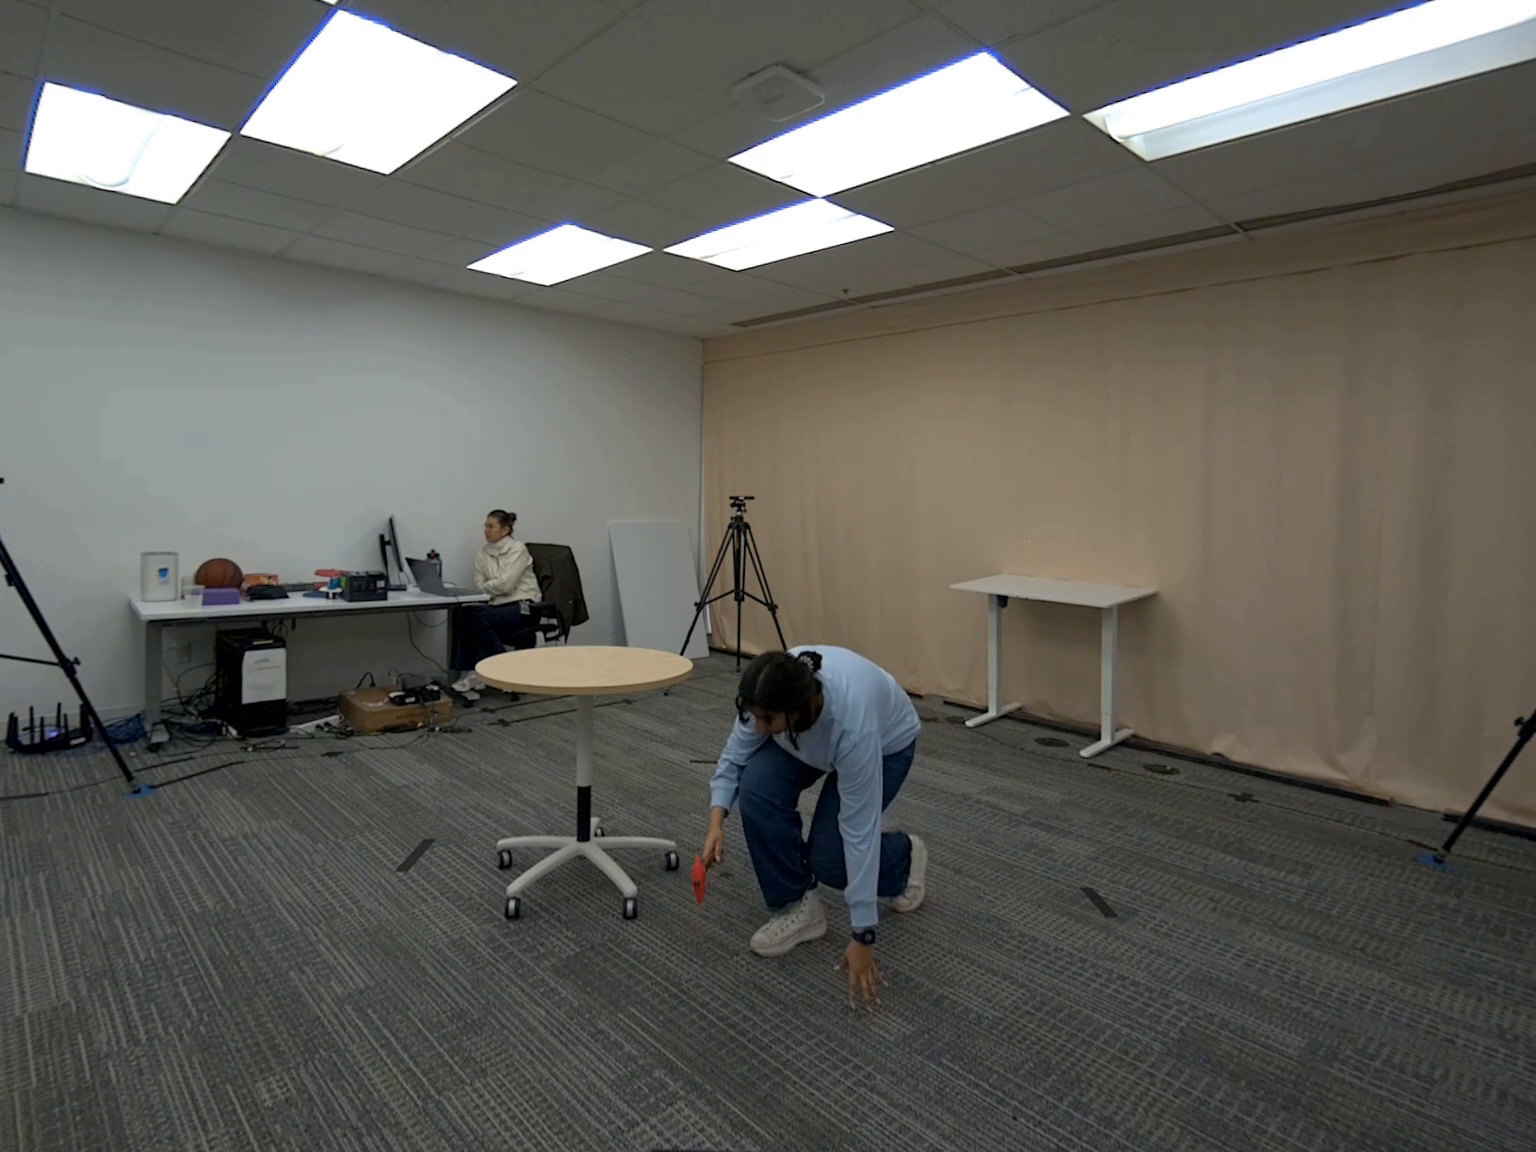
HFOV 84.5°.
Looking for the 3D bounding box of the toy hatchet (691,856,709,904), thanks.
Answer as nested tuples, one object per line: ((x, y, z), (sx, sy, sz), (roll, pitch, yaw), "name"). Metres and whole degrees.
((-0.171, 0.843, 2.396), (0.030, 0.132, 0.265), (2, -9, 10), "toy hatchet")
